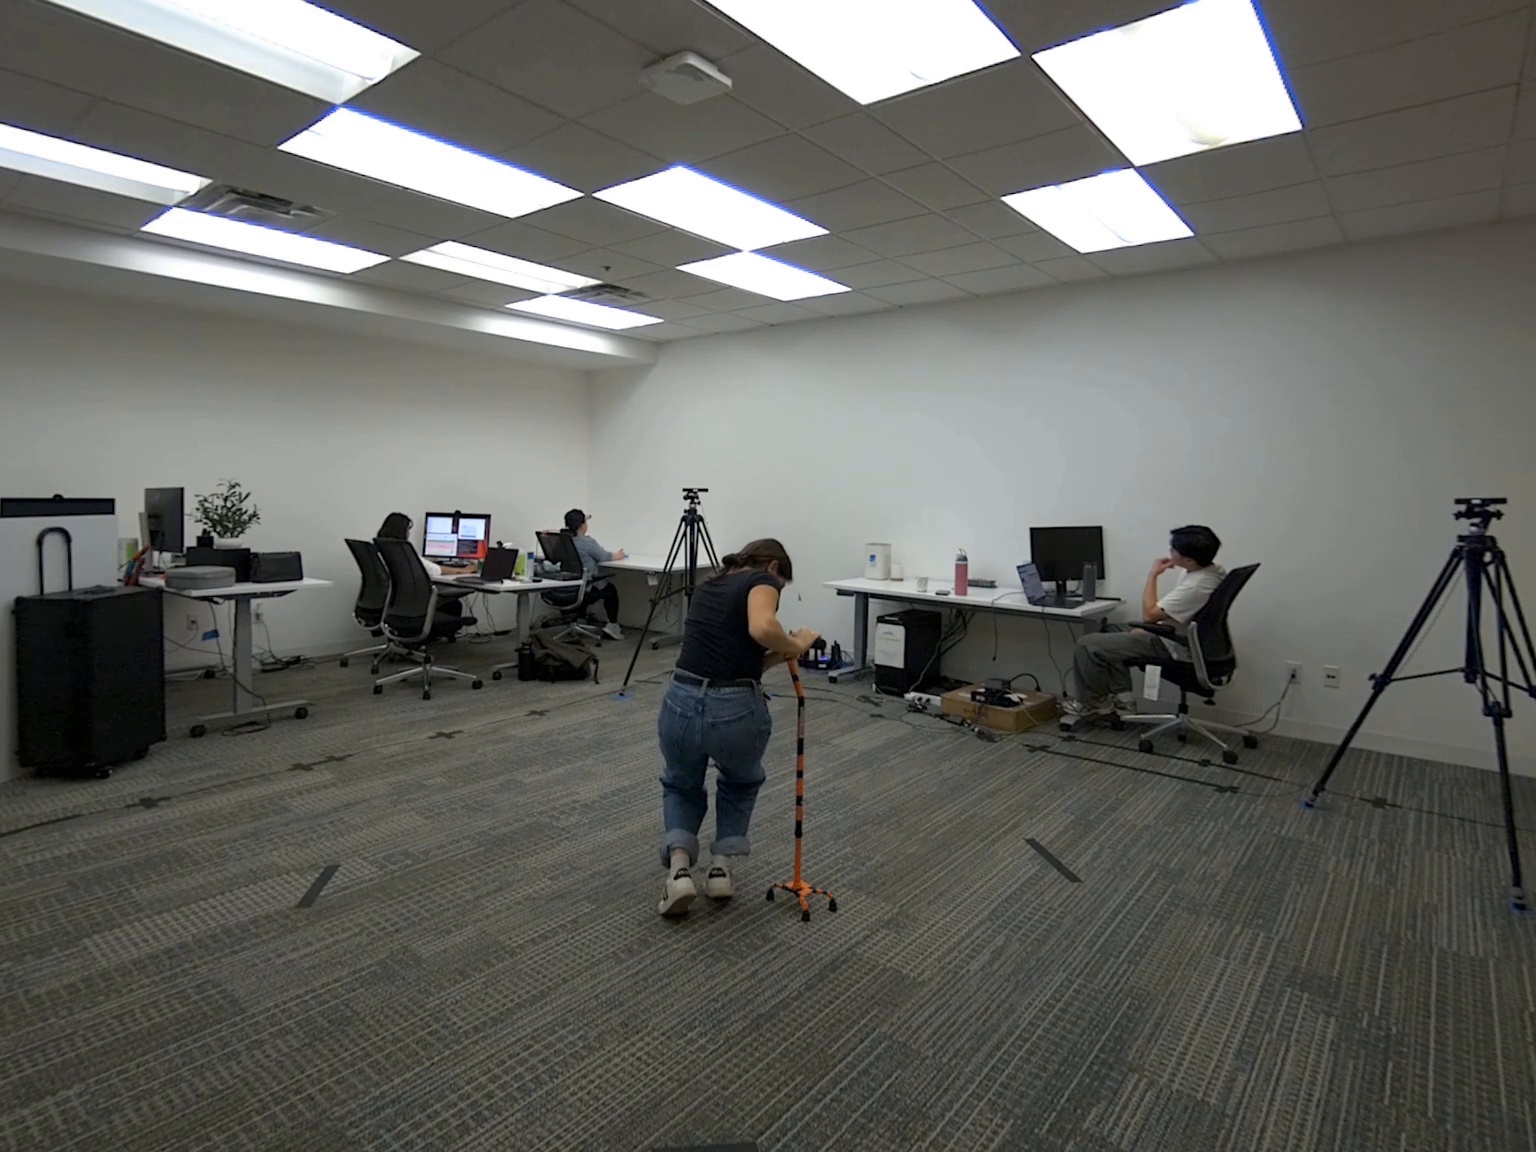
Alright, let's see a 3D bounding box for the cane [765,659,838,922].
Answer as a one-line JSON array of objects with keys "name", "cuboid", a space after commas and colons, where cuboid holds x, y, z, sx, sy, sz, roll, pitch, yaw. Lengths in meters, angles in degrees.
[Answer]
[{"name": "cane", "cuboid": [0.120, 0.647, 2.845, 0.147, 0.906, 0.213, -2, 3, -39]}]
